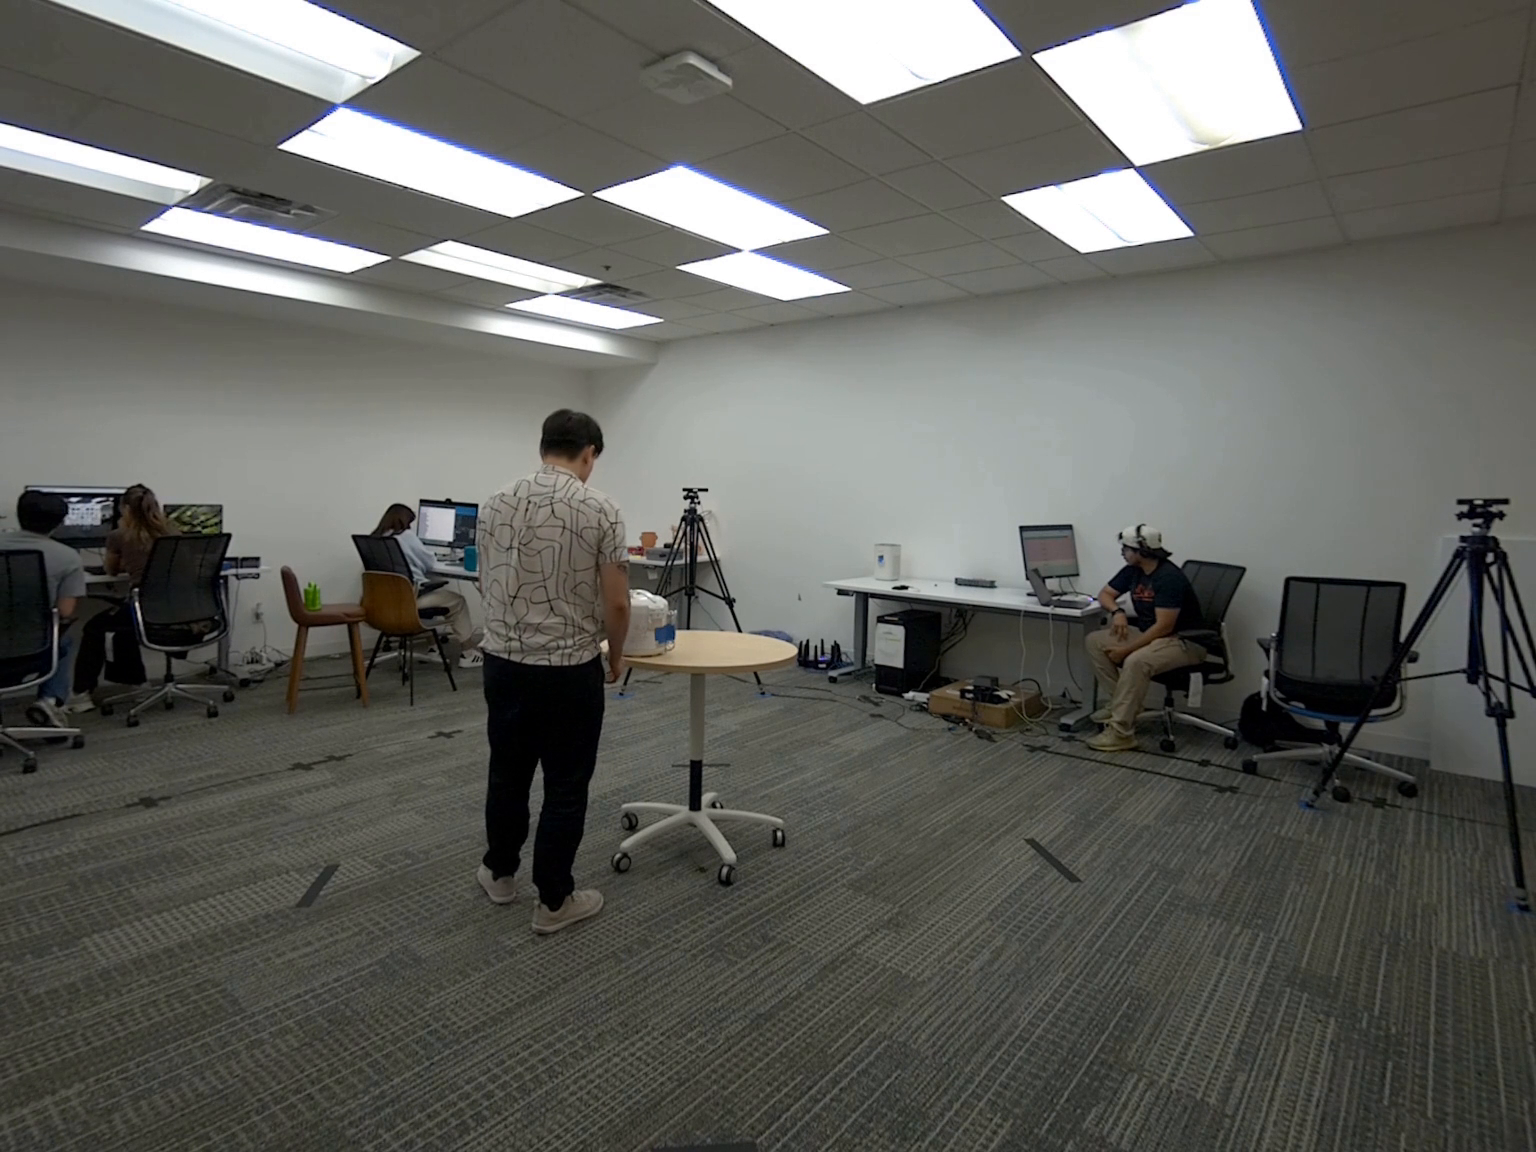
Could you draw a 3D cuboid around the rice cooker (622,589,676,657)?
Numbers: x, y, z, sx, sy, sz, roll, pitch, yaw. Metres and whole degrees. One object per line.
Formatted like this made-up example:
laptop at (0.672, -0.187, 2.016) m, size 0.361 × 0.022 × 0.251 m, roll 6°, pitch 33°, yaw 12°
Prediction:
rice cooker at (-0.478, 0.162, 3.110) m, size 0.211 × 0.232 × 0.228 m, roll -2°, pitch 5°, yaw -43°
